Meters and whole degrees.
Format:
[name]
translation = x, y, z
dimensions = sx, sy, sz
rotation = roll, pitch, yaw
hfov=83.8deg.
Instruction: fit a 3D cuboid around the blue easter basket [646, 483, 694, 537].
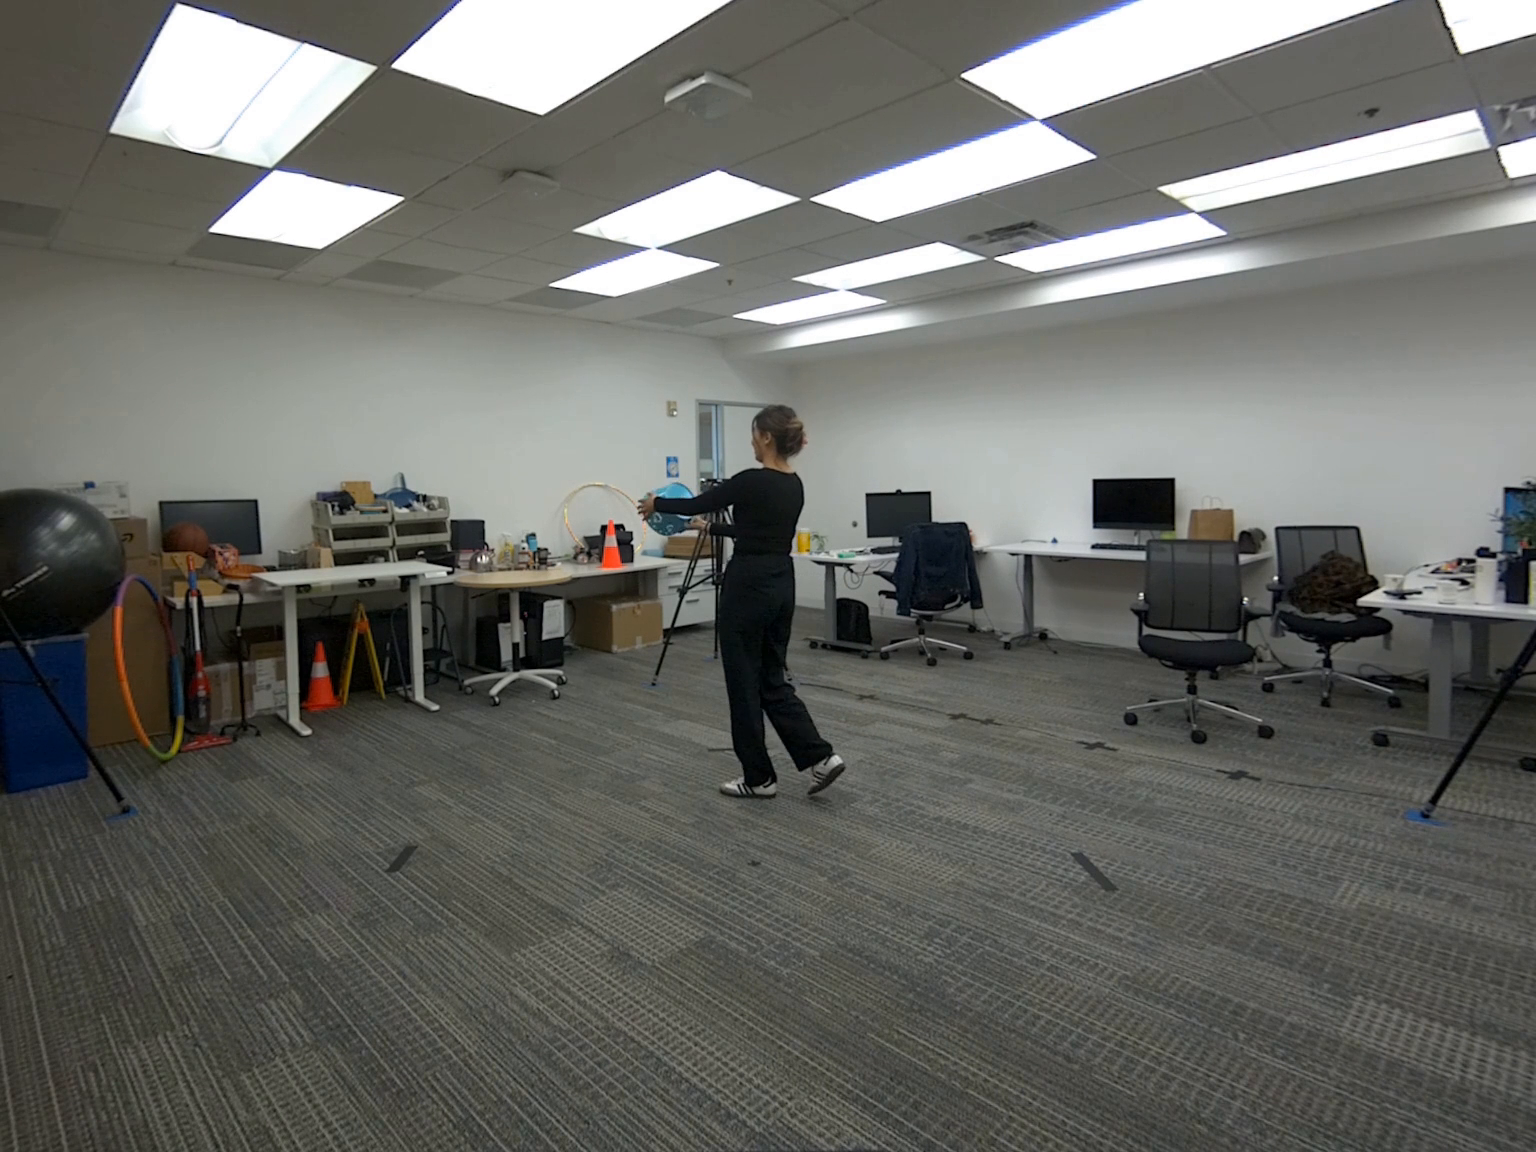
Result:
[blue easter basket]
translation = -0.444, -0.319, 3.991
dimensions = 0.237, 0.247, 0.158
rotation = -5, -16, -42
